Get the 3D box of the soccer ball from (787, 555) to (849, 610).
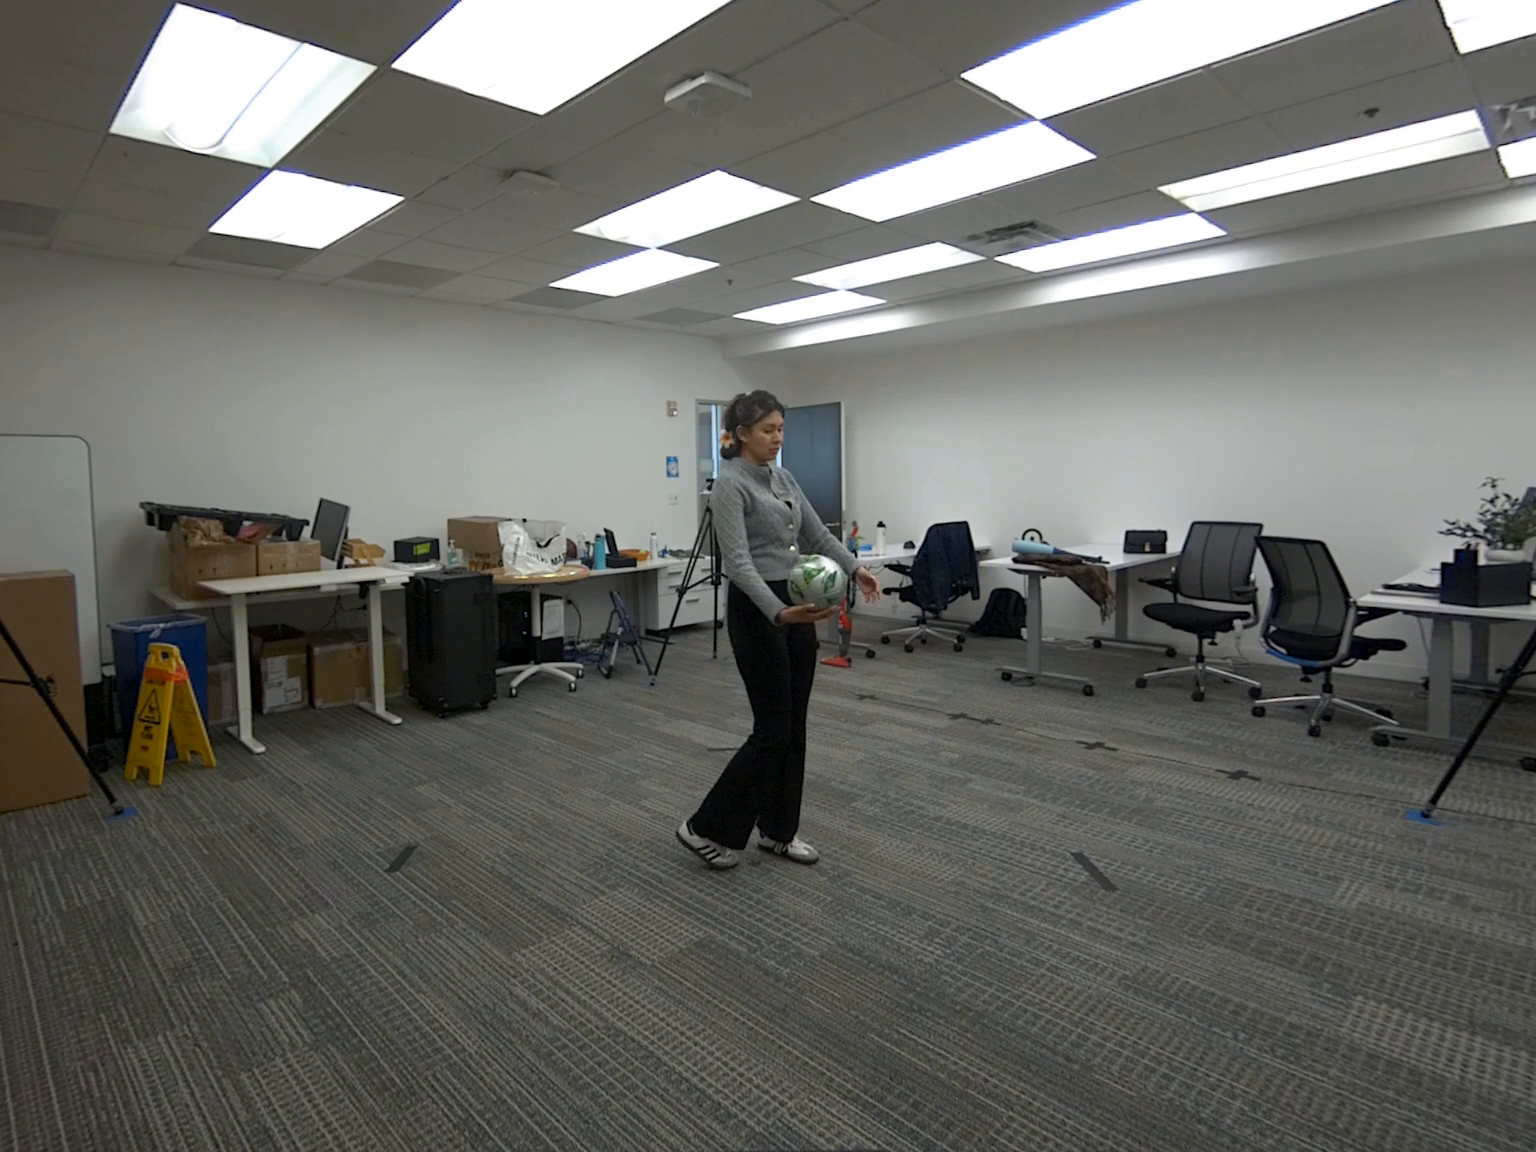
[{"bbox_3d":[0.149,0.030,2.737,0.187,0.187,0.188,-1,5,-2],"label":"soccer ball"}]
